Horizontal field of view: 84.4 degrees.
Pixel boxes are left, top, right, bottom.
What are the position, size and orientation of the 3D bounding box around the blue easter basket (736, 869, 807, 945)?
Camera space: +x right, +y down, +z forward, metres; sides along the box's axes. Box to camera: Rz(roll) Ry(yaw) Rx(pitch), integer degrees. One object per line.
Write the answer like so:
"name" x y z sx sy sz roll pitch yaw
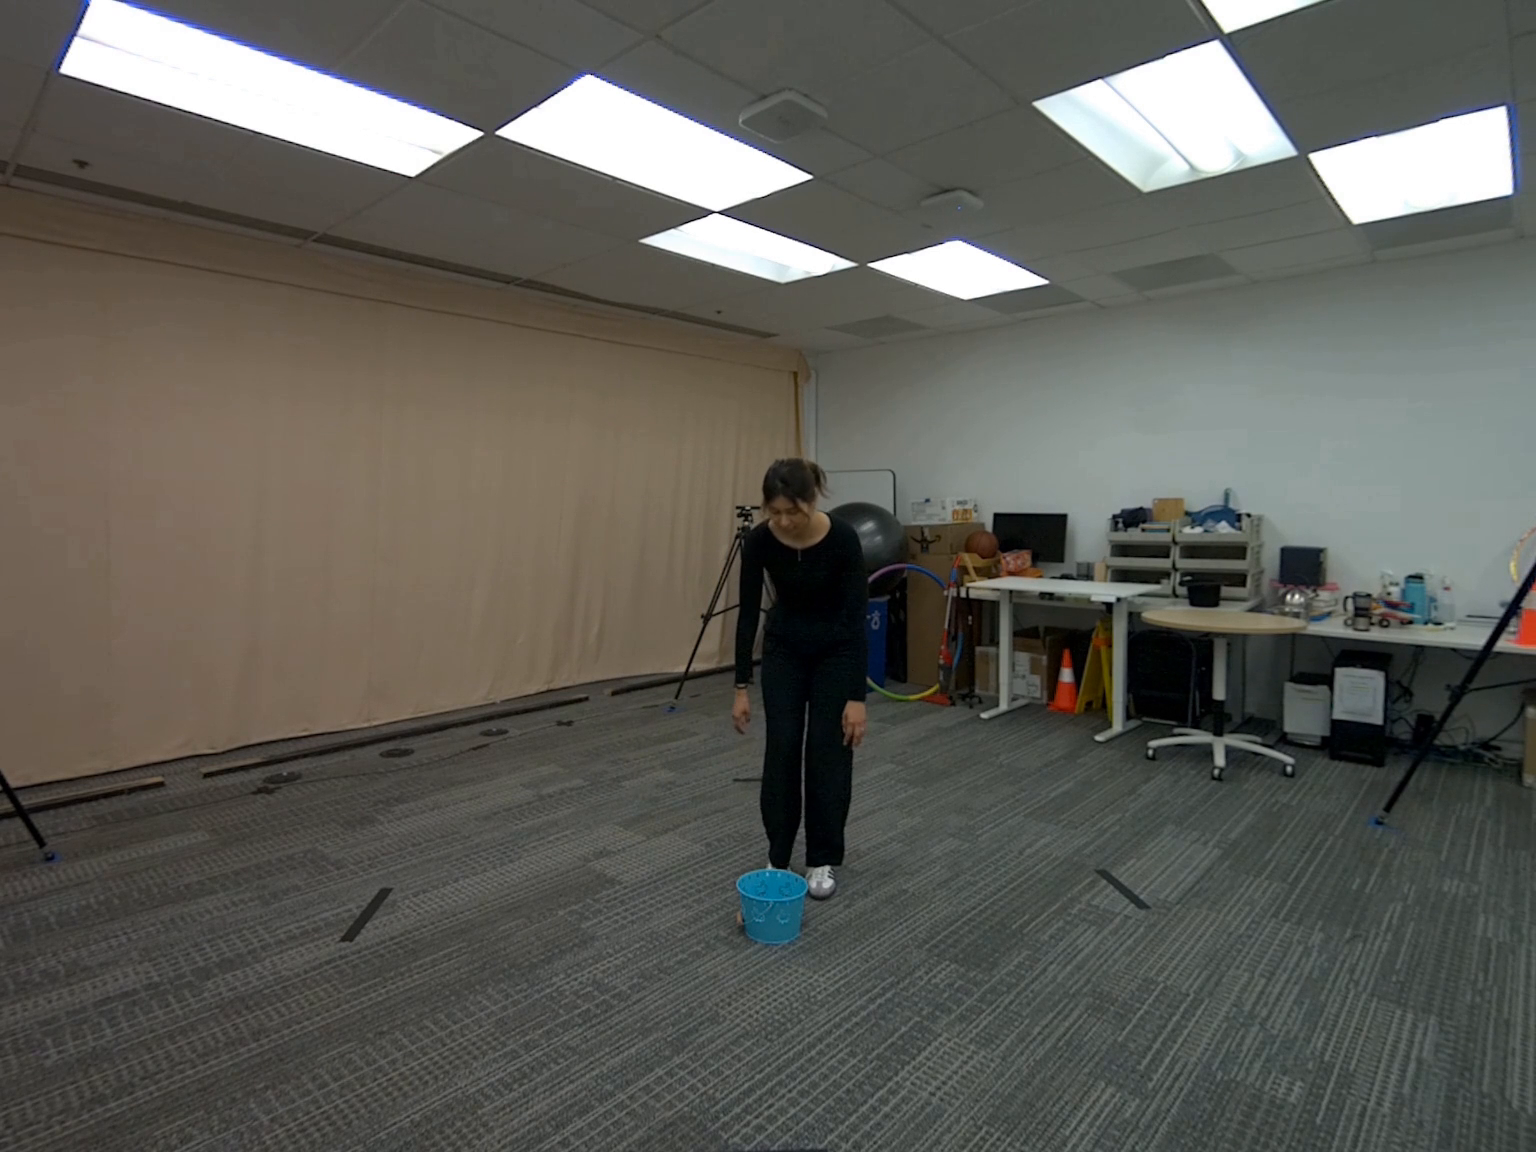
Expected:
"blue easter basket" 0.014 1.087 2.764 0.243 0.155 0.244 0 4 -2
